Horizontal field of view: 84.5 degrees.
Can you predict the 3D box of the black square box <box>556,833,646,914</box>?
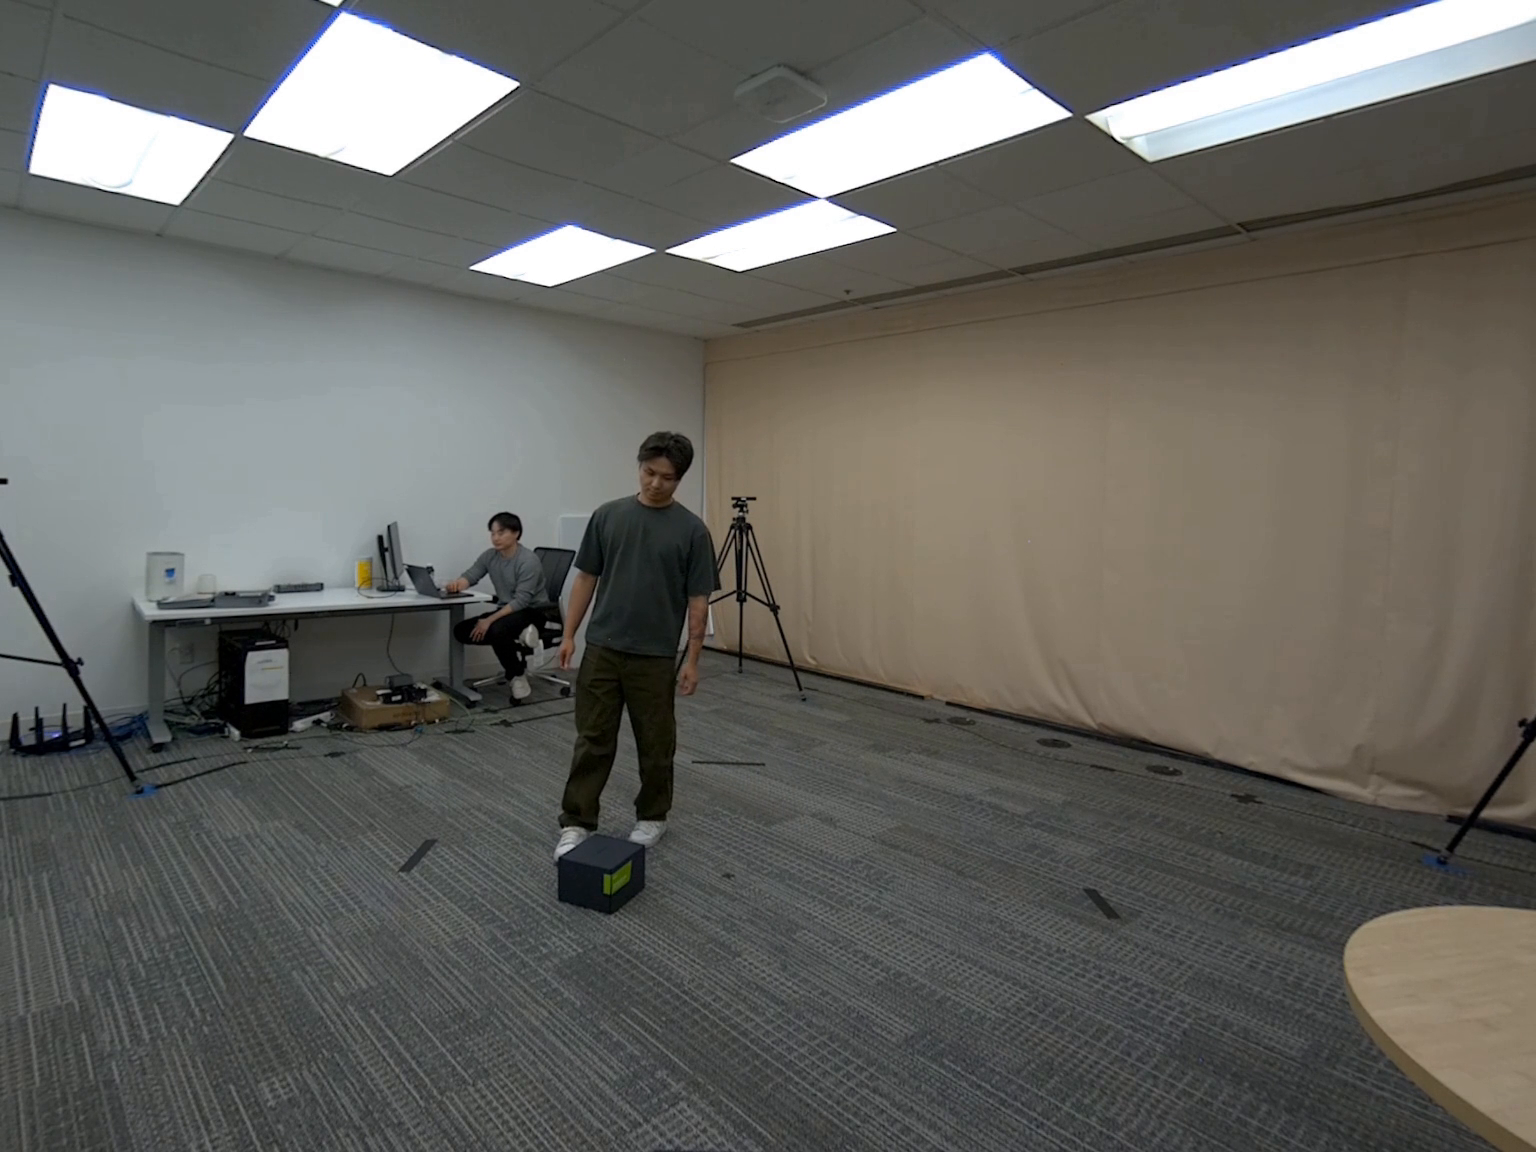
[{"bbox_3d":[-0.584,1.029,2.931,0.221,0.155,0.224,3,5,23],"label":"black square box"}]
